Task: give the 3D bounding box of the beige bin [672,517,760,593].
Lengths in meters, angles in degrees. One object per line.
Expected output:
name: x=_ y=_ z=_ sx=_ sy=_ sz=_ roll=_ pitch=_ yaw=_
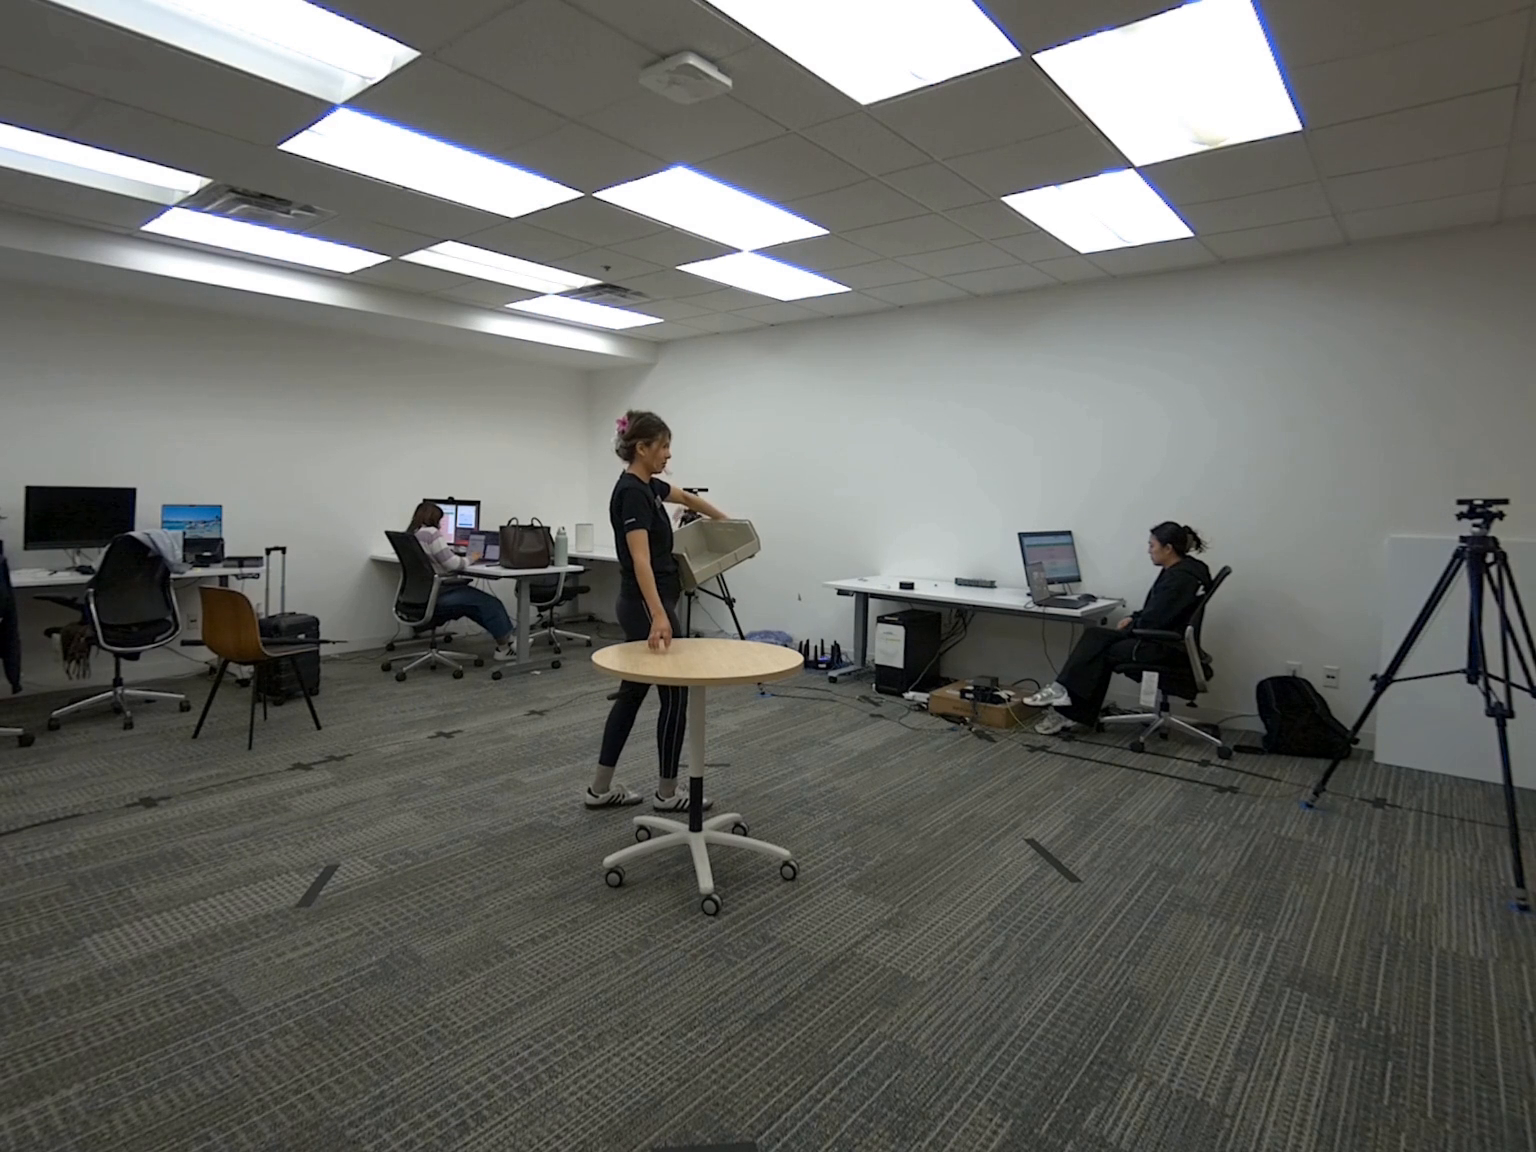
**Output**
beige bin: x=-0.326 y=-0.109 z=3.868 sx=0.390 sy=0.185 sz=0.416 roll=5 pitch=26 yaw=46
